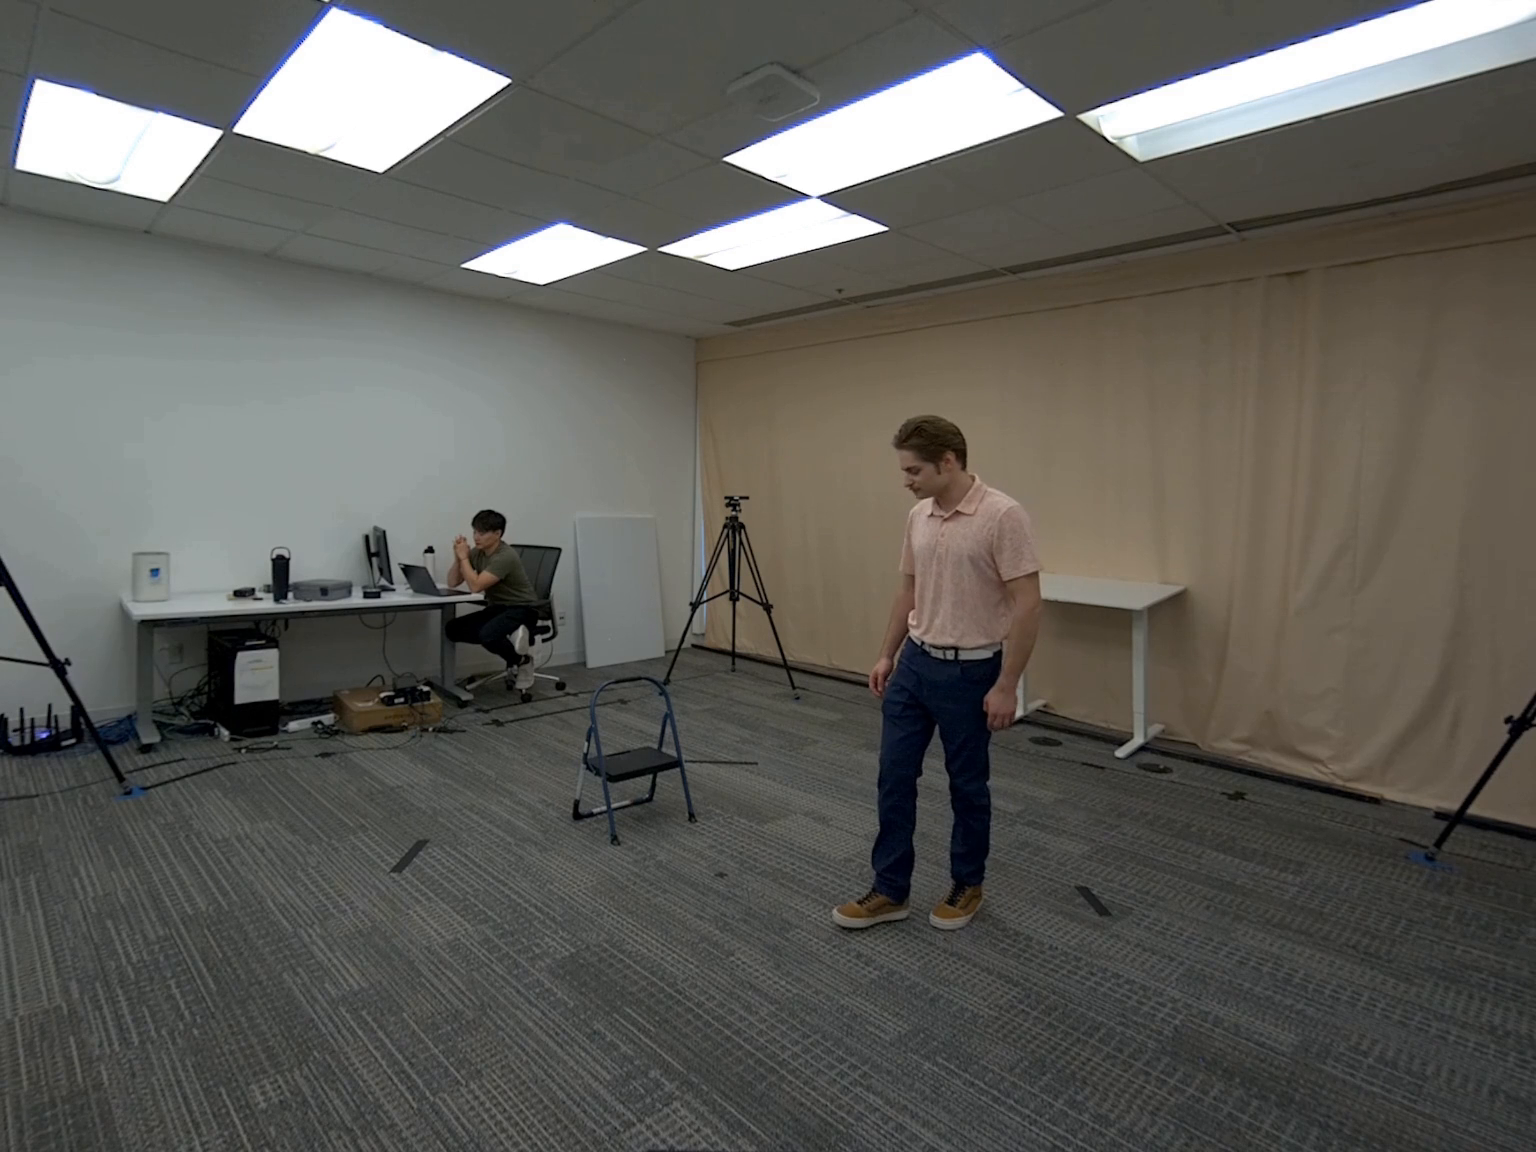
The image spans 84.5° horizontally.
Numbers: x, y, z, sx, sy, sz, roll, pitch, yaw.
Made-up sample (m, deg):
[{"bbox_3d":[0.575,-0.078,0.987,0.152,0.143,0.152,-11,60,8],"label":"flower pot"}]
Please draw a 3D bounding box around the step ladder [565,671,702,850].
[{"bbox_3d":[-0.573,0.755,3.596,0.420,0.605,0.358,0,4,-43],"label":"step ladder"}]
